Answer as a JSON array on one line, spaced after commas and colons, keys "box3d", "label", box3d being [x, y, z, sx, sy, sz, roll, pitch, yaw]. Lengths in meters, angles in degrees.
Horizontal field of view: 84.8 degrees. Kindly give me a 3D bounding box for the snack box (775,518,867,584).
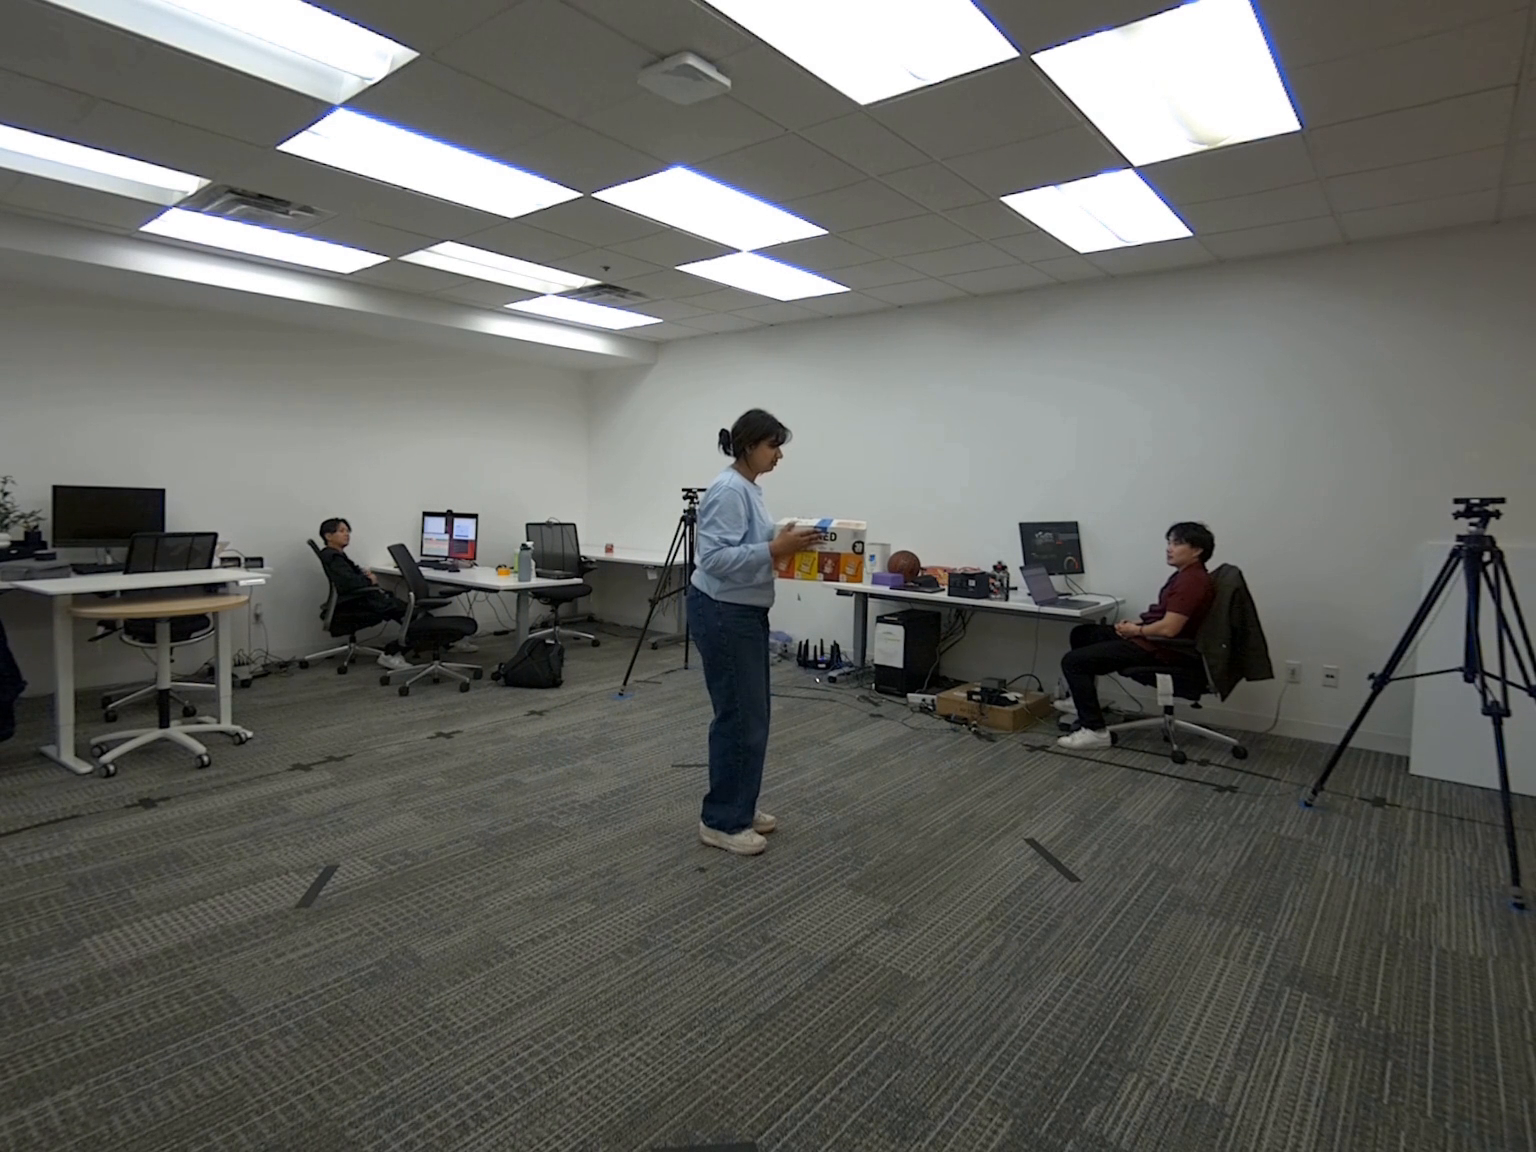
[{"box3d": [0.200, -0.108, 3.355, 0.344, 0.204, 0.403, 3, 8, 9], "label": "snack box"}]
